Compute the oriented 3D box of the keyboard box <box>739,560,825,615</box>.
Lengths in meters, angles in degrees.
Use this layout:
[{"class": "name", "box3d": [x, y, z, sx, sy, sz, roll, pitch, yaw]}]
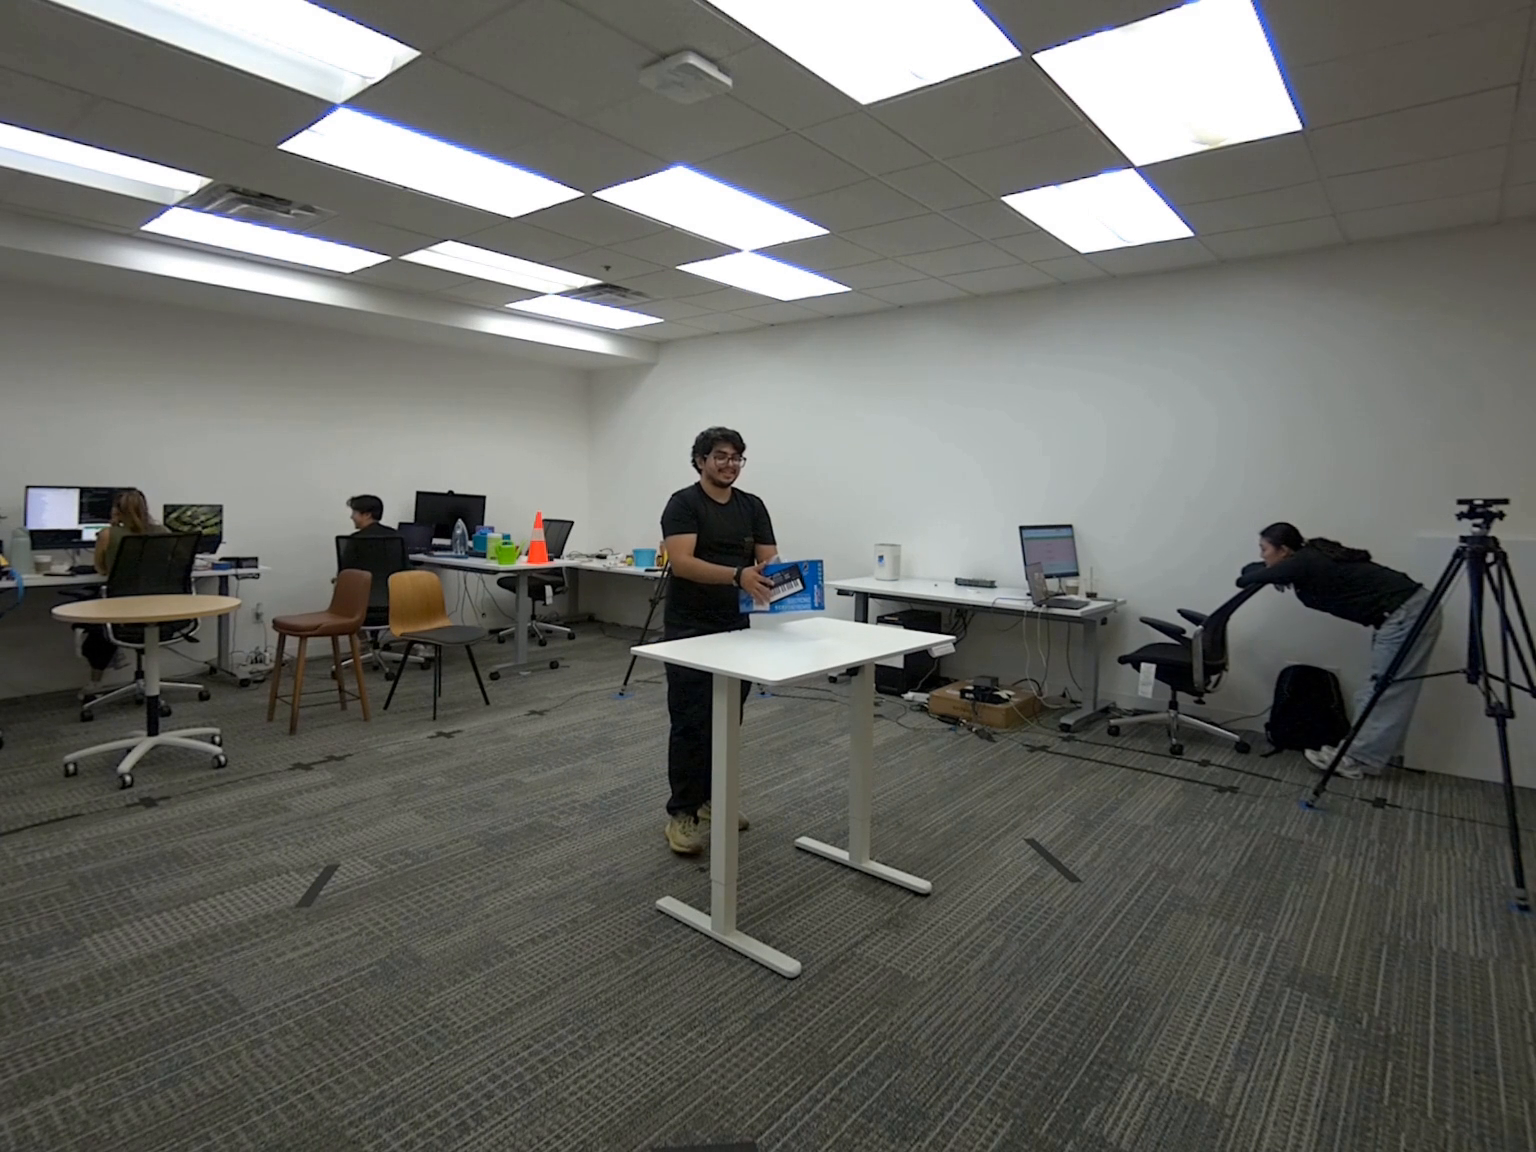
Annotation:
[{"class": "keyboard box", "box3d": [0.033, 0.043, 3.053, 0.057, 0.177, 0.447, 3, -6, -34]}]
